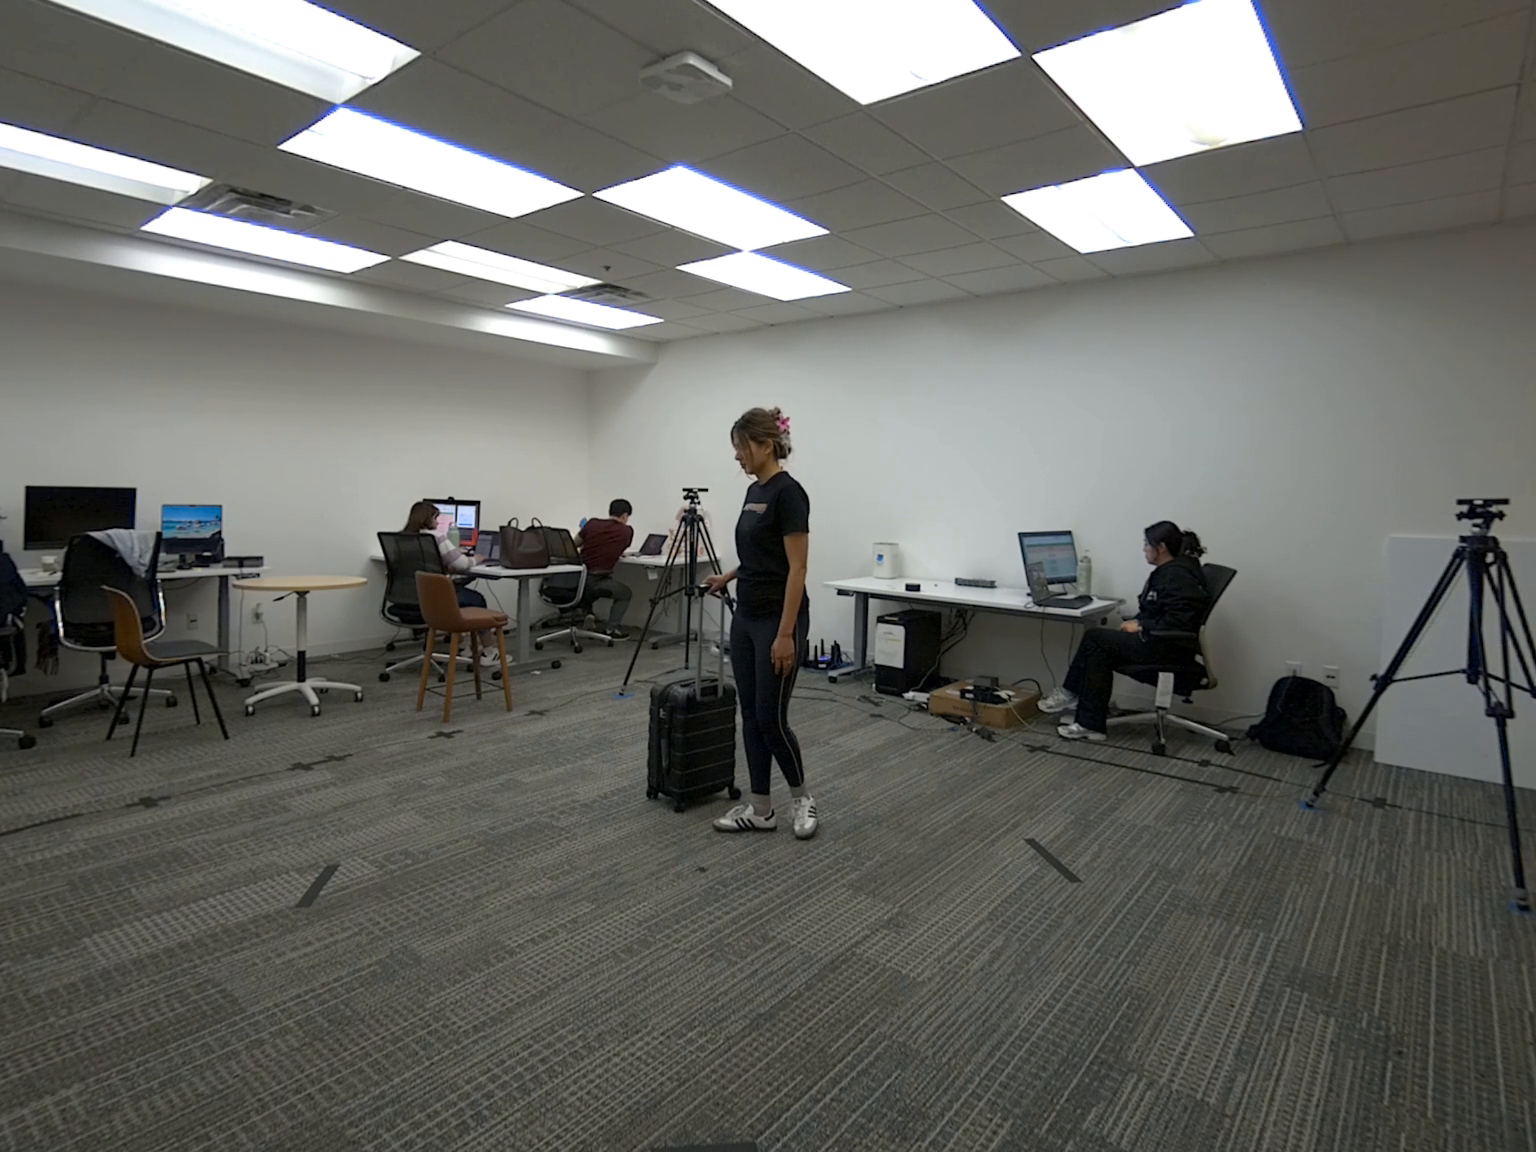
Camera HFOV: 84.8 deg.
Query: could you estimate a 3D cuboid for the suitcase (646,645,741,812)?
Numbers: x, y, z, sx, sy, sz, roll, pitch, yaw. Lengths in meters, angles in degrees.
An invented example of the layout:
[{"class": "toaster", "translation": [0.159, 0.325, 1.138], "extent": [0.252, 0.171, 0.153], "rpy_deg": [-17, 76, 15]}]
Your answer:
[{"class": "suitcase", "translation": [-0.353, 0.522, 3.795], "extent": [0.372, 0.976, 0.265], "rpy_deg": [-2, 4, -40]}]
